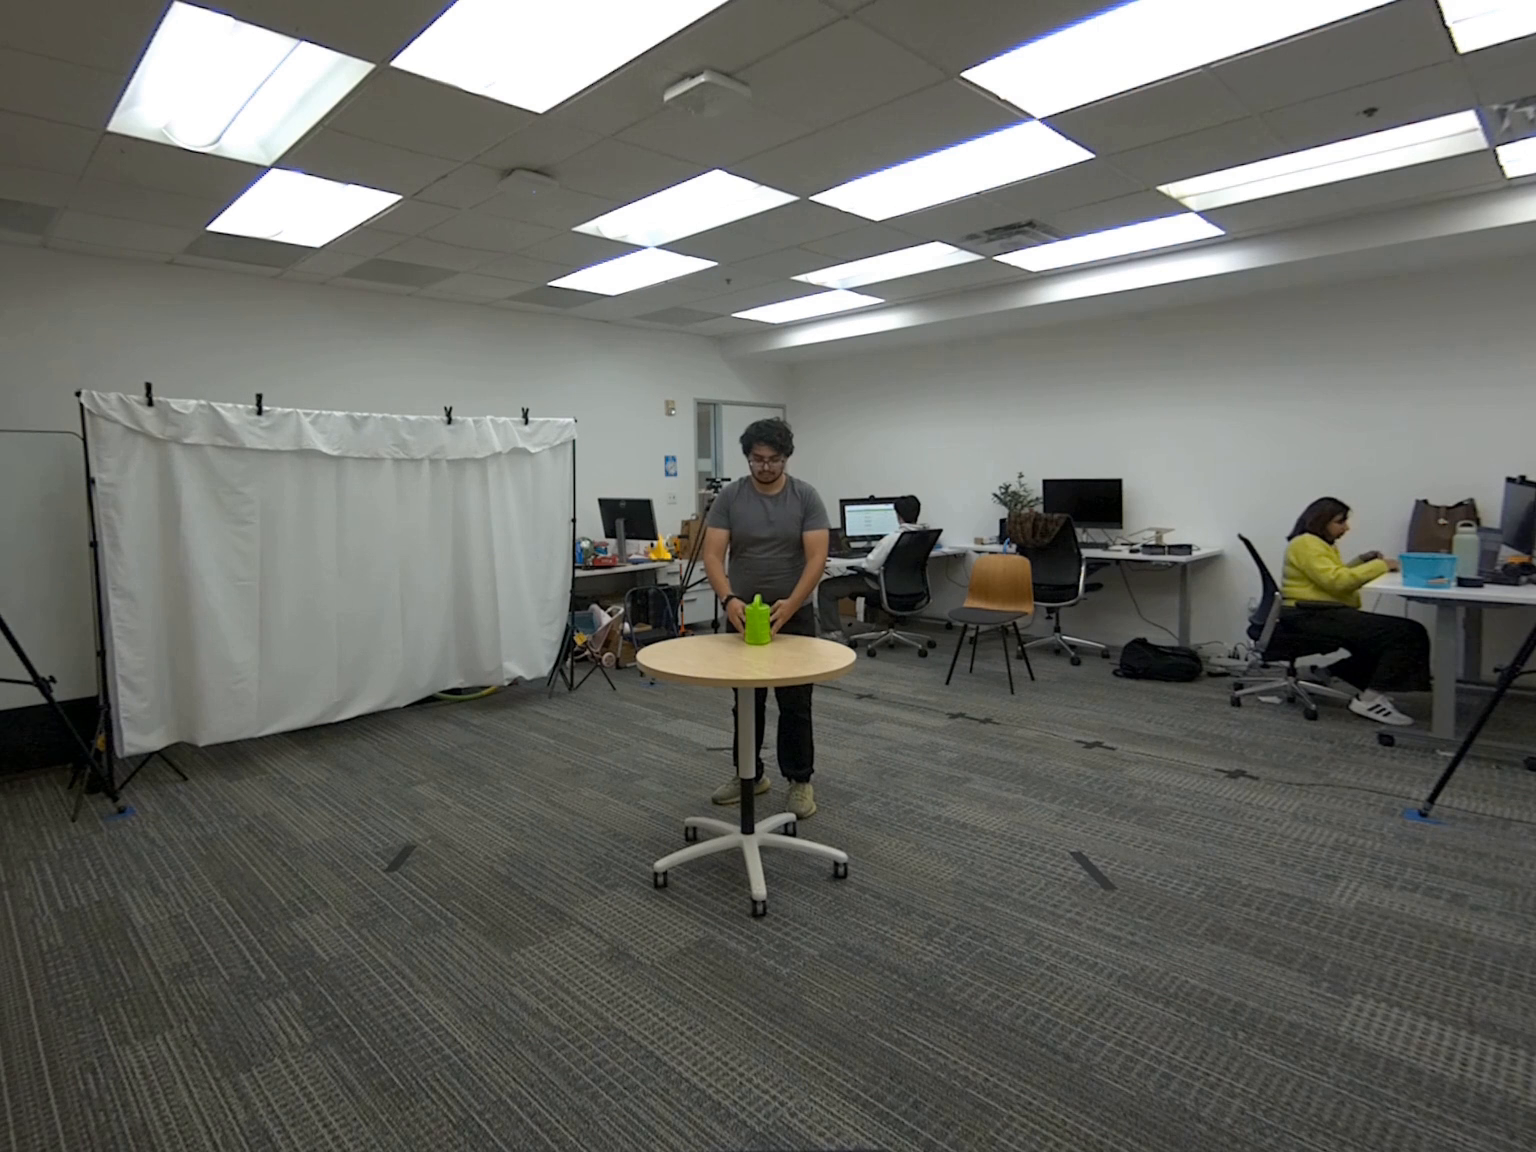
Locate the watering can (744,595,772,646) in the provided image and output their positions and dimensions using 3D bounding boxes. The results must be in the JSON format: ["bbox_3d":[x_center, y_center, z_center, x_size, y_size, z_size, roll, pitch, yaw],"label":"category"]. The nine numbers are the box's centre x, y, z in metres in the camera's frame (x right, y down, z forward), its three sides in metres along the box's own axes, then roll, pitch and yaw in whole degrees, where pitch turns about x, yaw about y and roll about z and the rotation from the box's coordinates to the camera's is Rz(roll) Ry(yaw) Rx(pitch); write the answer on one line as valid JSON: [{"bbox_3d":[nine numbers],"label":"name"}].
[{"bbox_3d":[-0.048,0.168,3.153,0.100,0.176,0.274,3,6,19],"label":"watering can"}]
